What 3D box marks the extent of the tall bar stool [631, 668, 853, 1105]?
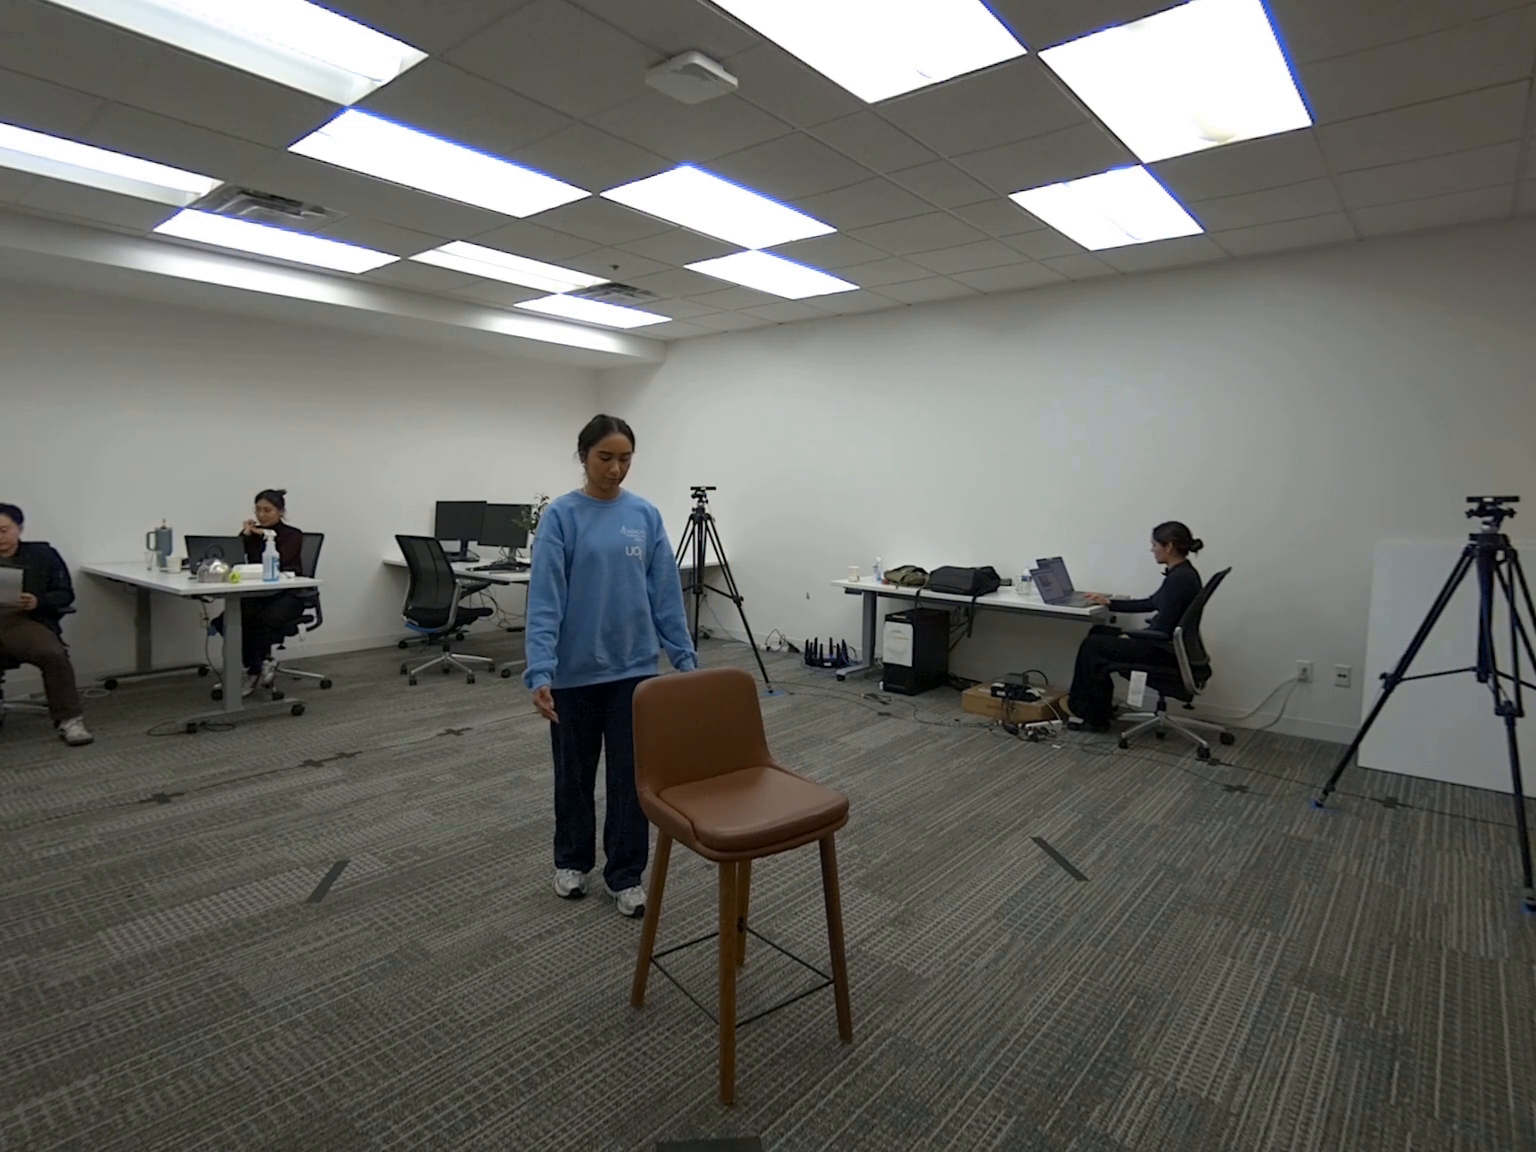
[{"bbox_3d":[-0.080,0.718,2.198,0.443,0.889,0.482,-1,2,-38],"label":"tall bar stool"}]
